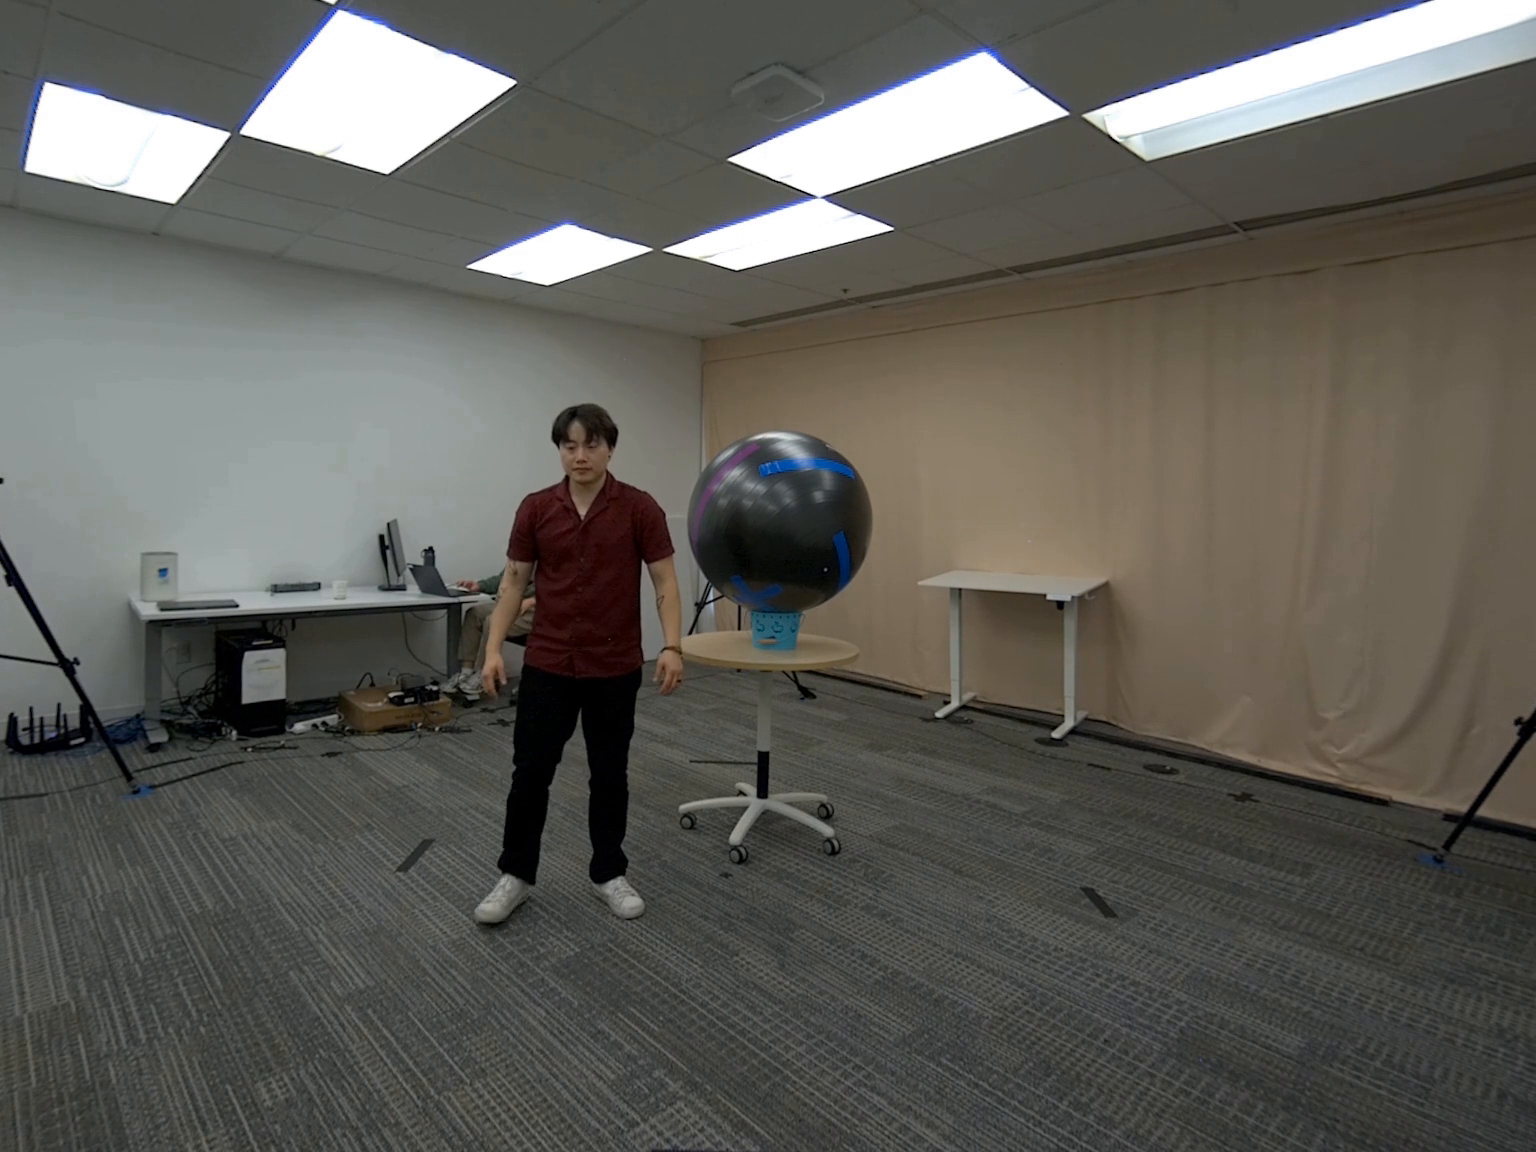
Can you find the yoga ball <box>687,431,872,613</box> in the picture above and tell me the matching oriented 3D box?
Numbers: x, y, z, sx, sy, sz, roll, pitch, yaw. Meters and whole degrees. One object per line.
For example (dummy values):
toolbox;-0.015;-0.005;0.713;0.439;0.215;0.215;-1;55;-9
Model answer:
yoga ball;0.042;-0.214;3.477;0.757;0.756;0.761;1;4;-1
